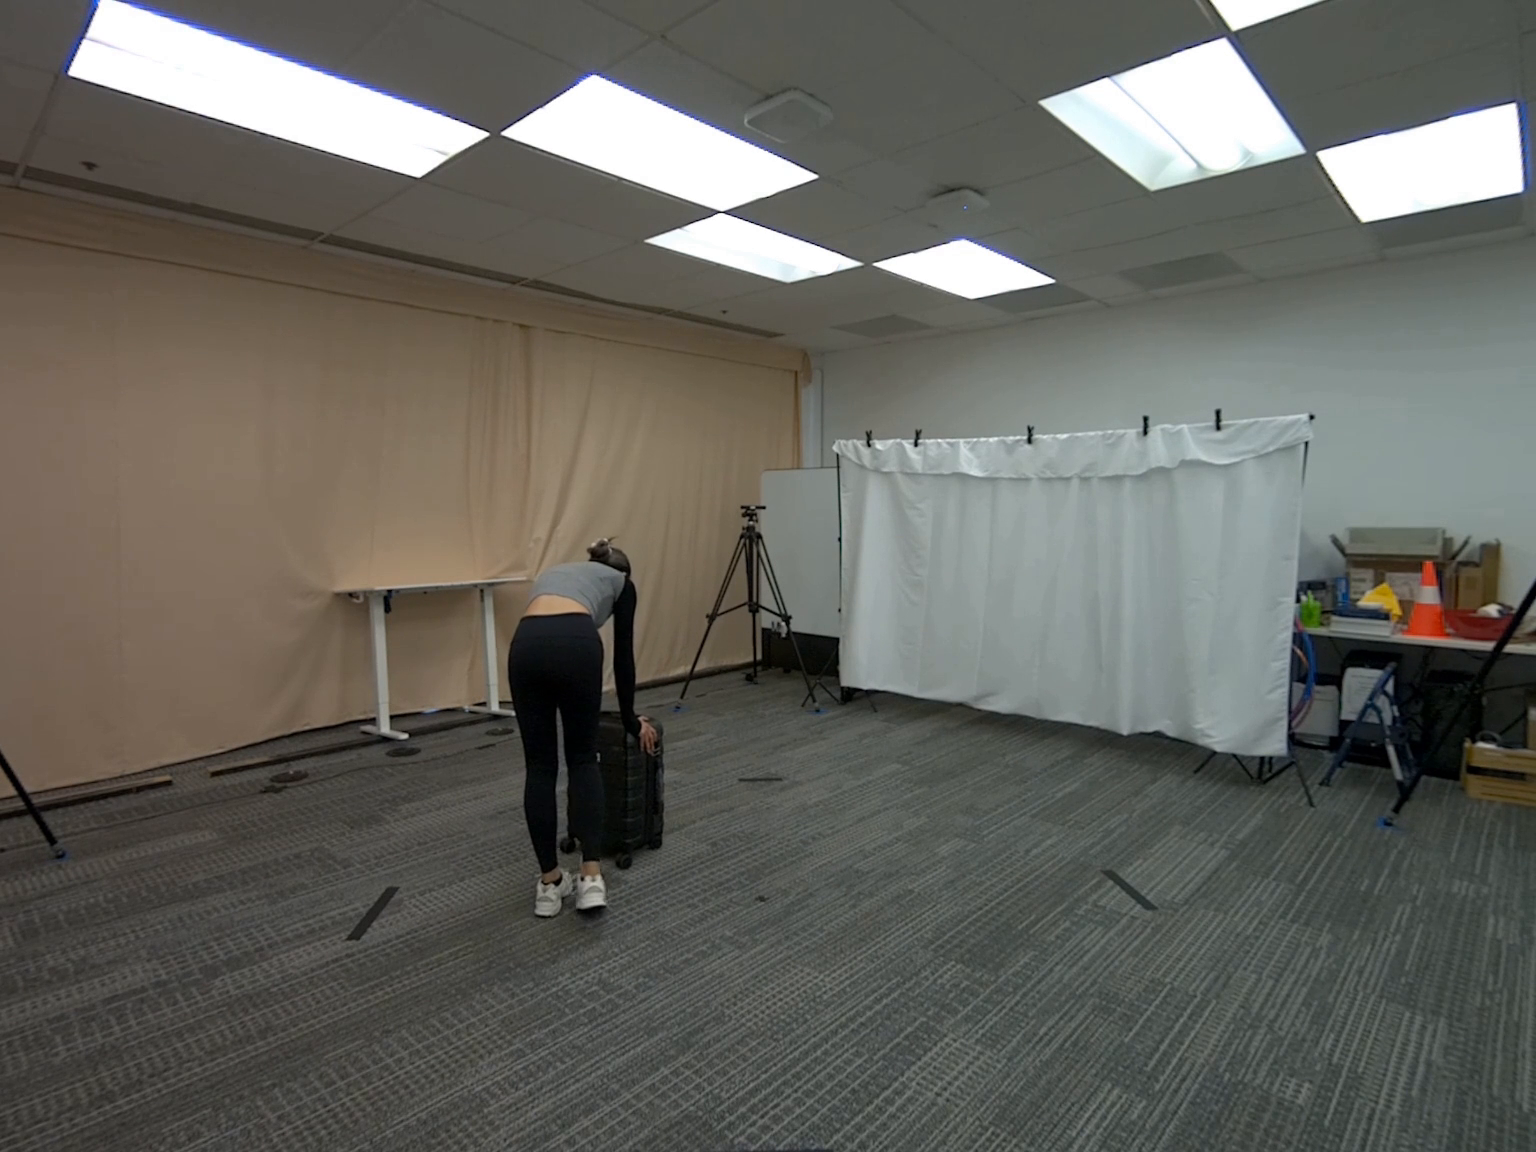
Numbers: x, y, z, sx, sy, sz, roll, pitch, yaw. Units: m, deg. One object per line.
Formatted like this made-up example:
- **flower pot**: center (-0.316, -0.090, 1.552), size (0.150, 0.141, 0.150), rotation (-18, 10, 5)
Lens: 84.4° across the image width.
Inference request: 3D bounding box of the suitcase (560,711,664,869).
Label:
- **suitcase**: center (-0.622, 0.842, 3.421), size (0.386, 0.549, 0.241), rotation (3, 2, 30)
